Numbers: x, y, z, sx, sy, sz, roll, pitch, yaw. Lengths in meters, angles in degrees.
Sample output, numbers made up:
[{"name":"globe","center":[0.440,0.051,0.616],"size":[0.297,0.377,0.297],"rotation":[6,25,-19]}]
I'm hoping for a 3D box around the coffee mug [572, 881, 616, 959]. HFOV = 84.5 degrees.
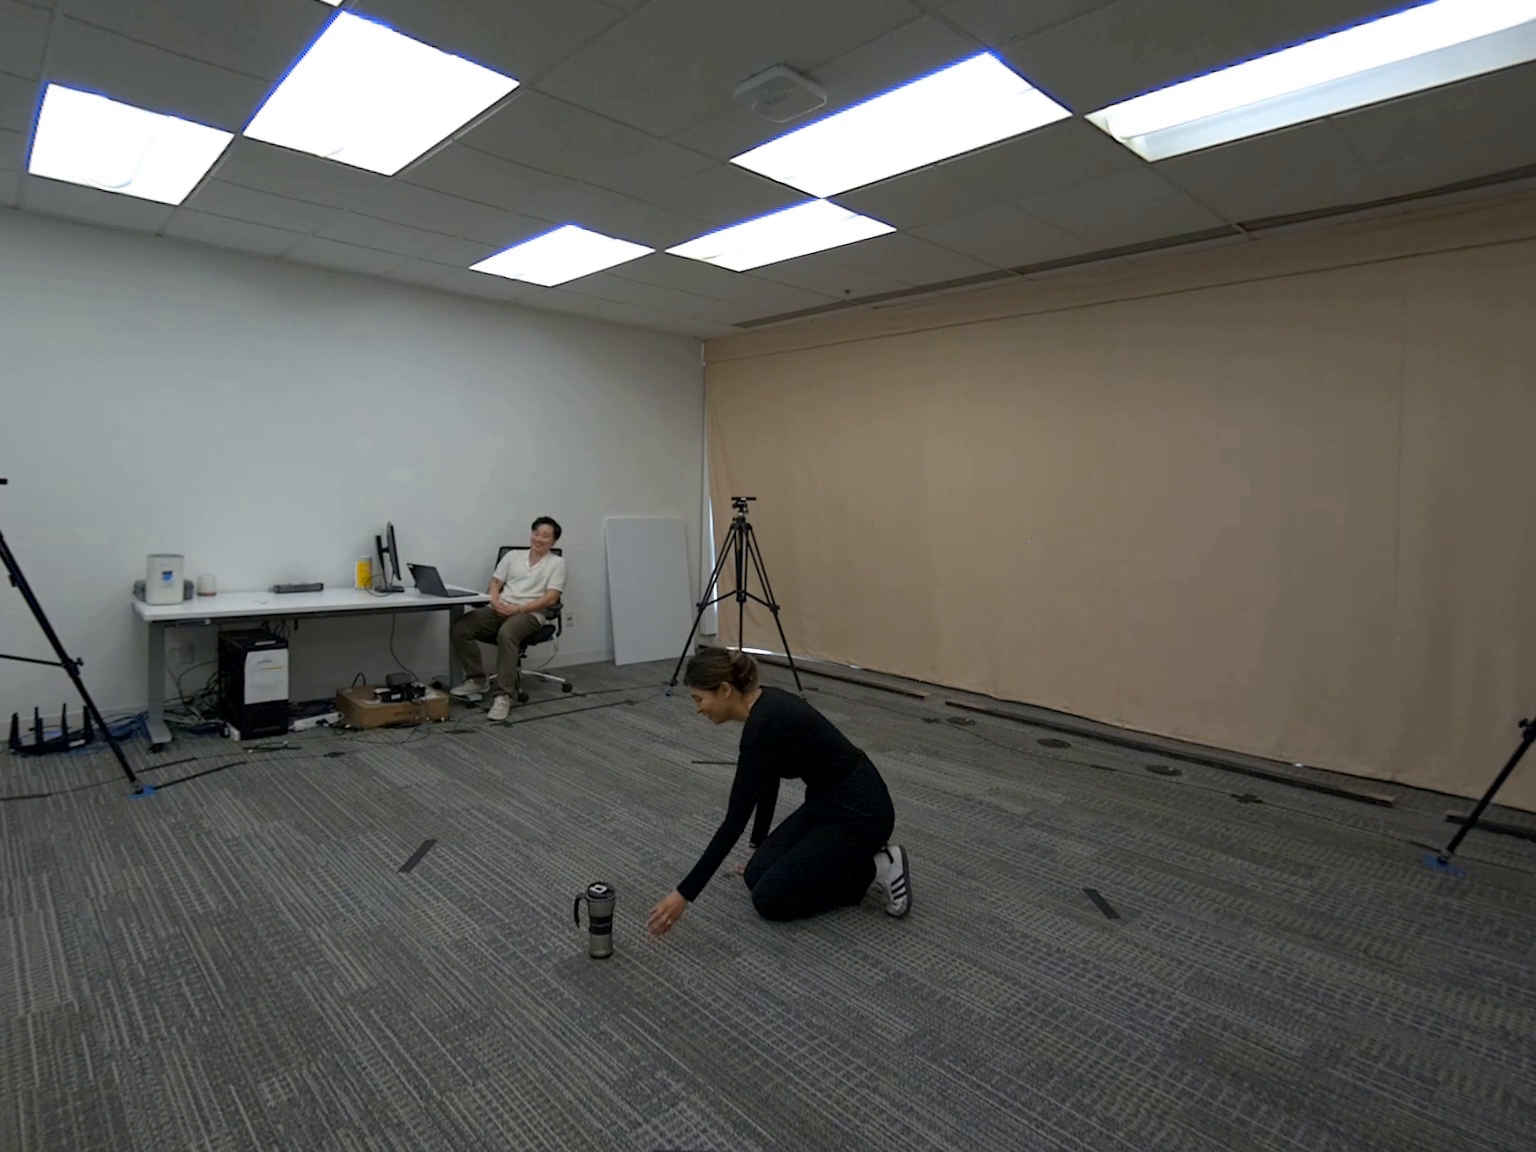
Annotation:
[{"name":"coffee mug","center":[-0.531,1.051,2.556],"size":[0.125,0.202,0.086],"rotation":[8,10,29]}]
